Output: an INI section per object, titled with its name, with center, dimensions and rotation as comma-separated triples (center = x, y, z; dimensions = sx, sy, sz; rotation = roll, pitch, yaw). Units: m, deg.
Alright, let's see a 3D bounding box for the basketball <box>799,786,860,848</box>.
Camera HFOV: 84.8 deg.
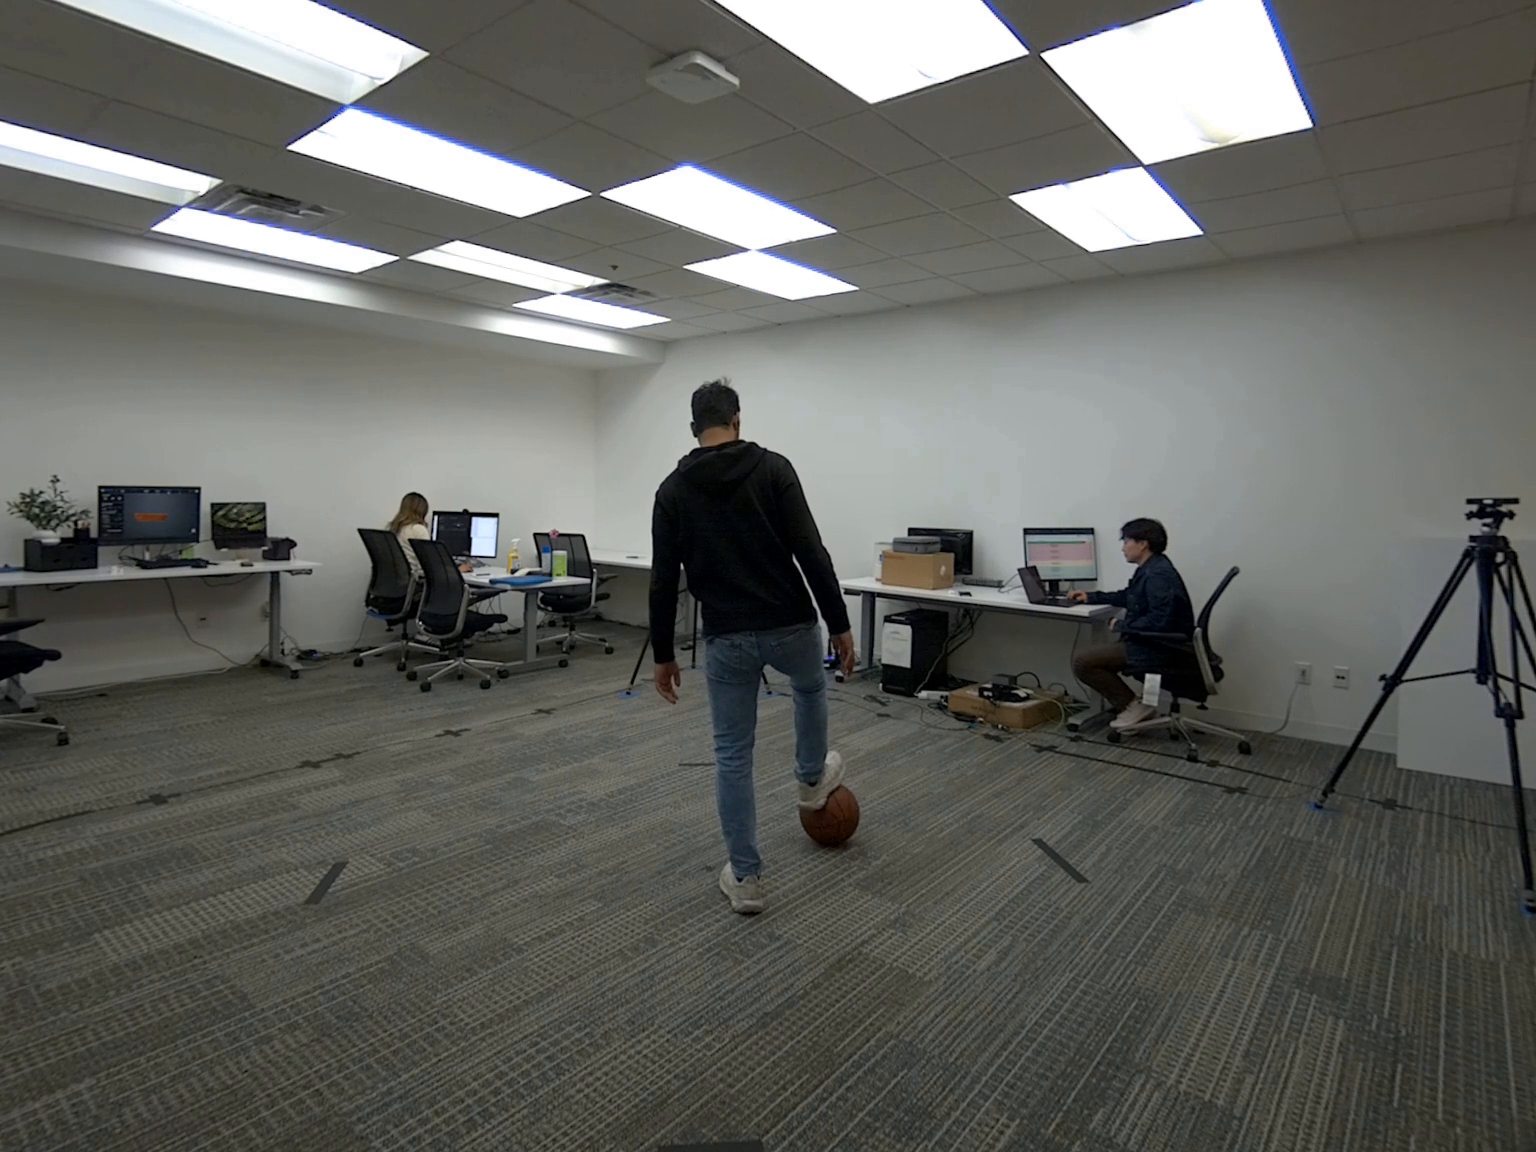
[basketball]
center = 0.233, 0.932, 3.354
dimensions = 0.235, 0.235, 0.237
rotation = 1, 4, -2
